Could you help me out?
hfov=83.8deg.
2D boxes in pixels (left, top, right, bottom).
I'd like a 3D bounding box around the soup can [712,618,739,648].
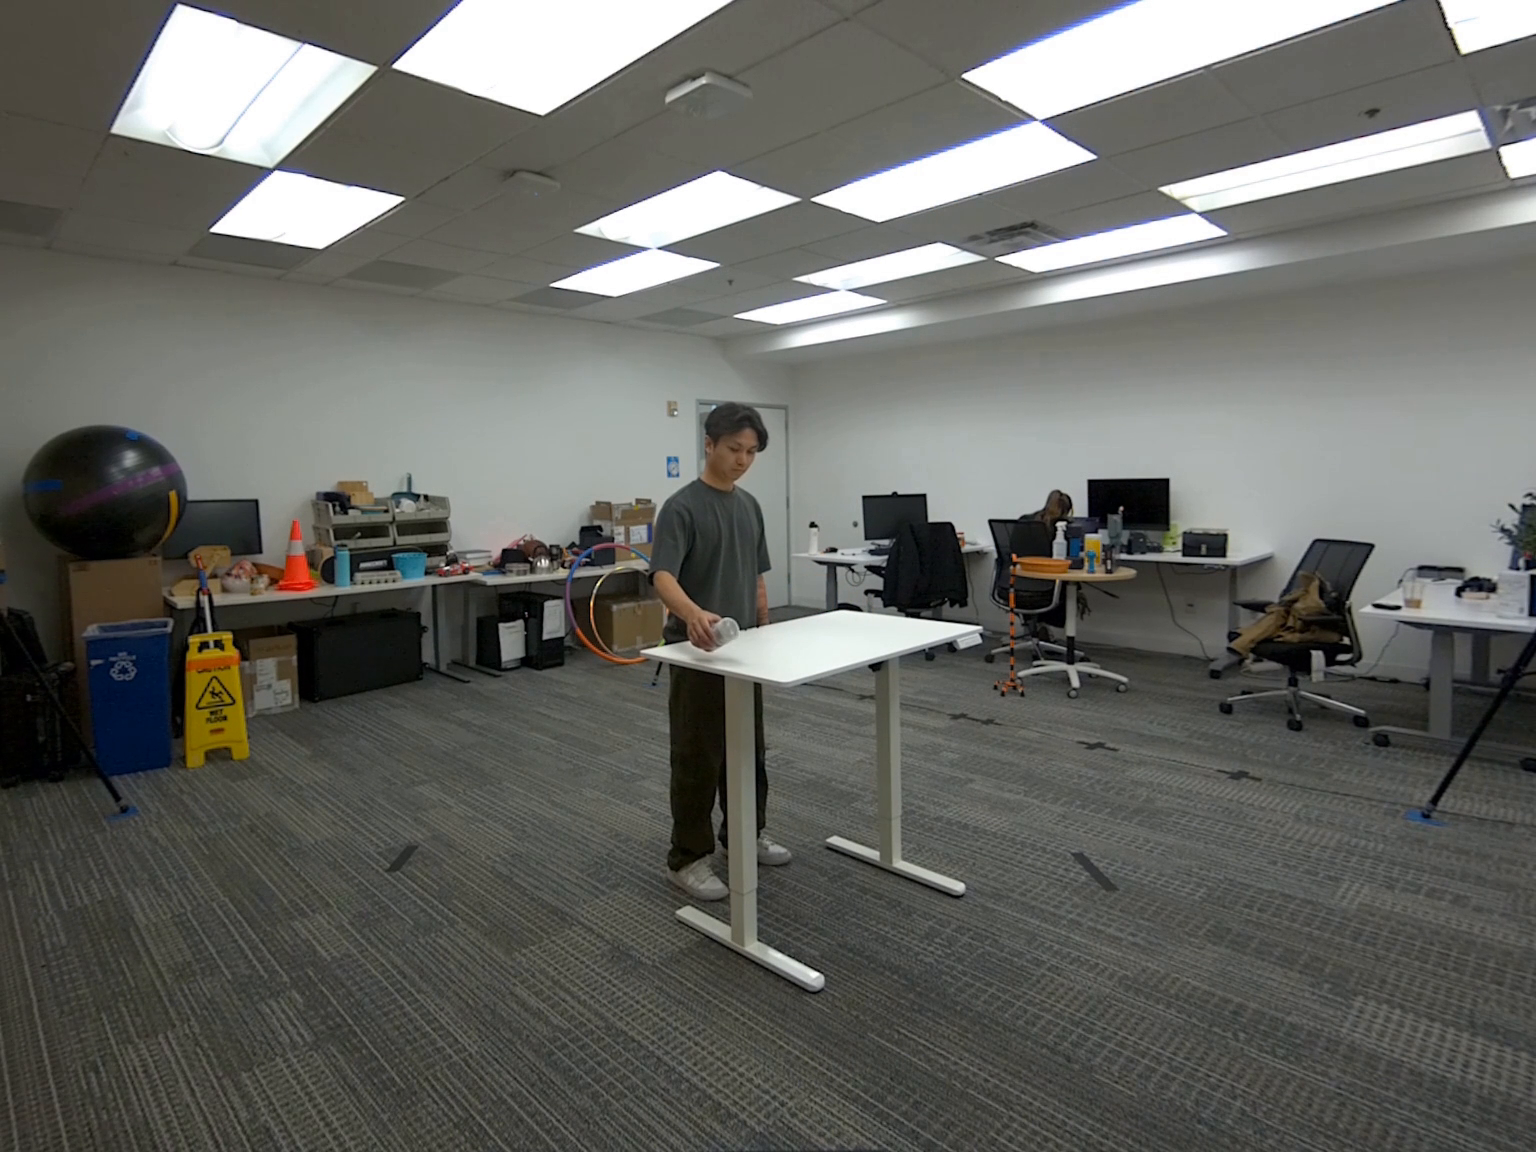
[{"bbox_3d":[-0.145,0.171,2.431,0.066,0.069,0.121,-3,-26,-23],"label":"soup can"}]
